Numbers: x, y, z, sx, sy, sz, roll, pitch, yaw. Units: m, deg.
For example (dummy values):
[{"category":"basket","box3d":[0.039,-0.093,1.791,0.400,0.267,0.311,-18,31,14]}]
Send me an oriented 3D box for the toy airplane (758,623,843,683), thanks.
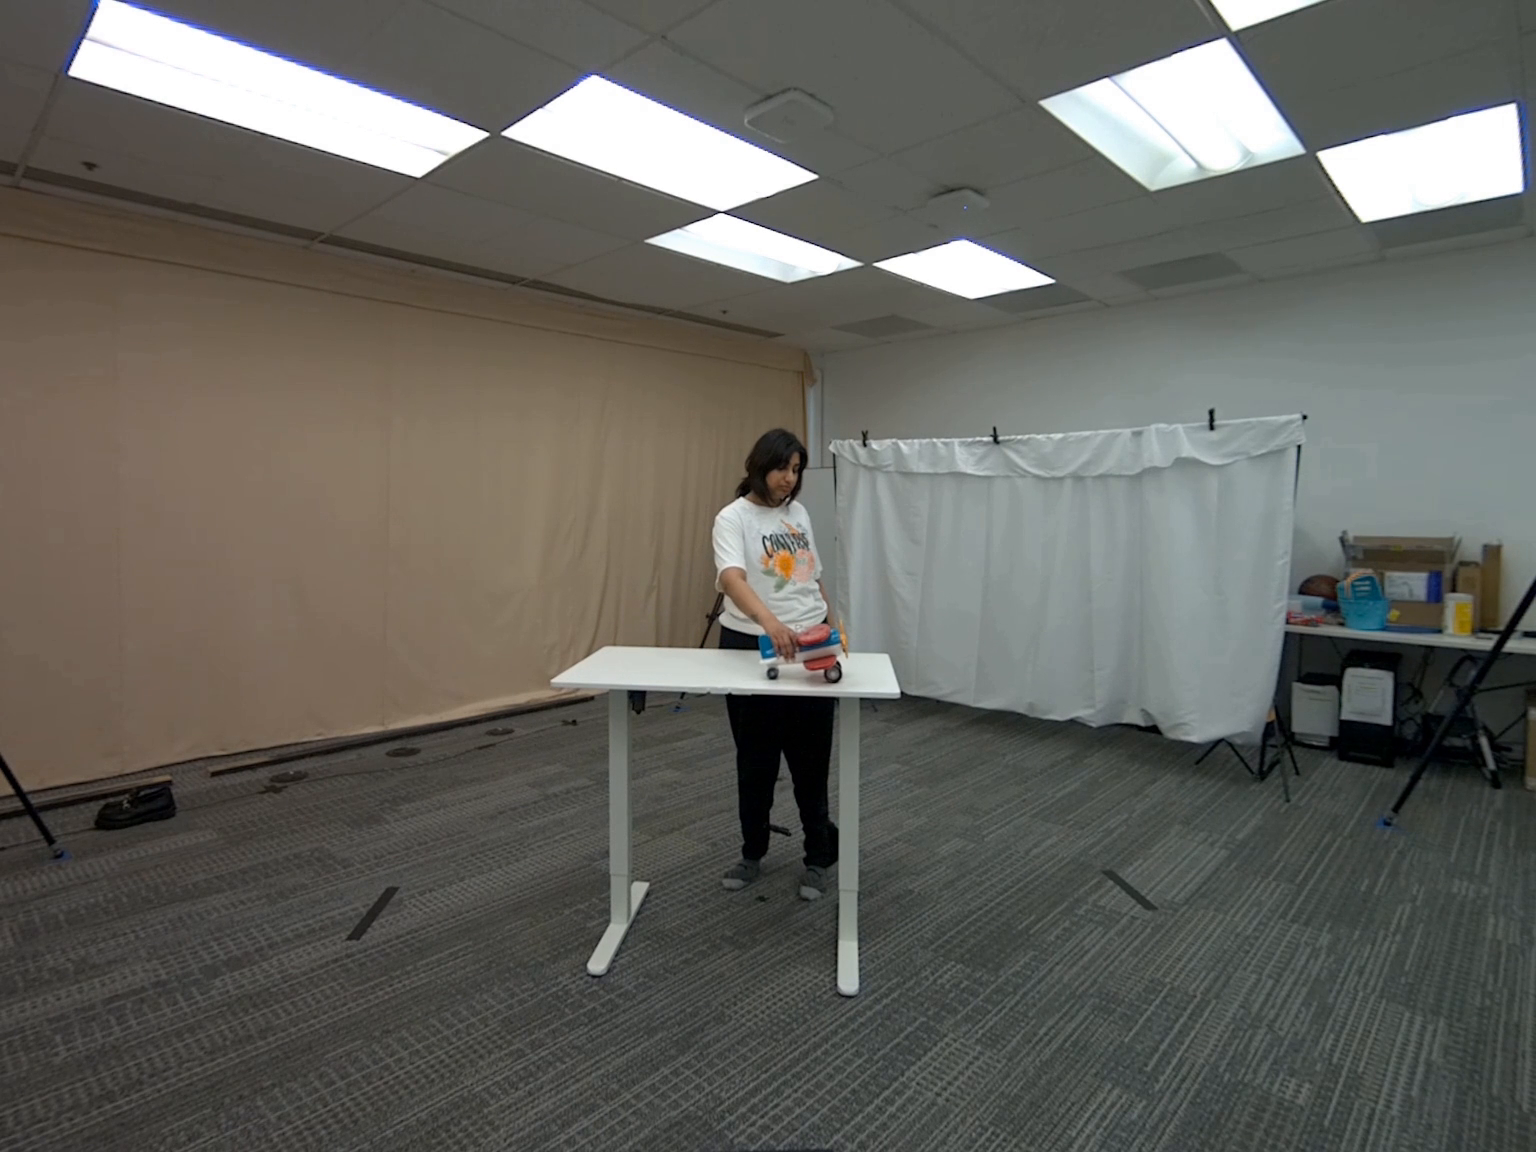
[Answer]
[{"category":"toy airplane","box3d":[0.103,0.230,2.464,0.254,0.156,0.257,-1,5,-22]}]
